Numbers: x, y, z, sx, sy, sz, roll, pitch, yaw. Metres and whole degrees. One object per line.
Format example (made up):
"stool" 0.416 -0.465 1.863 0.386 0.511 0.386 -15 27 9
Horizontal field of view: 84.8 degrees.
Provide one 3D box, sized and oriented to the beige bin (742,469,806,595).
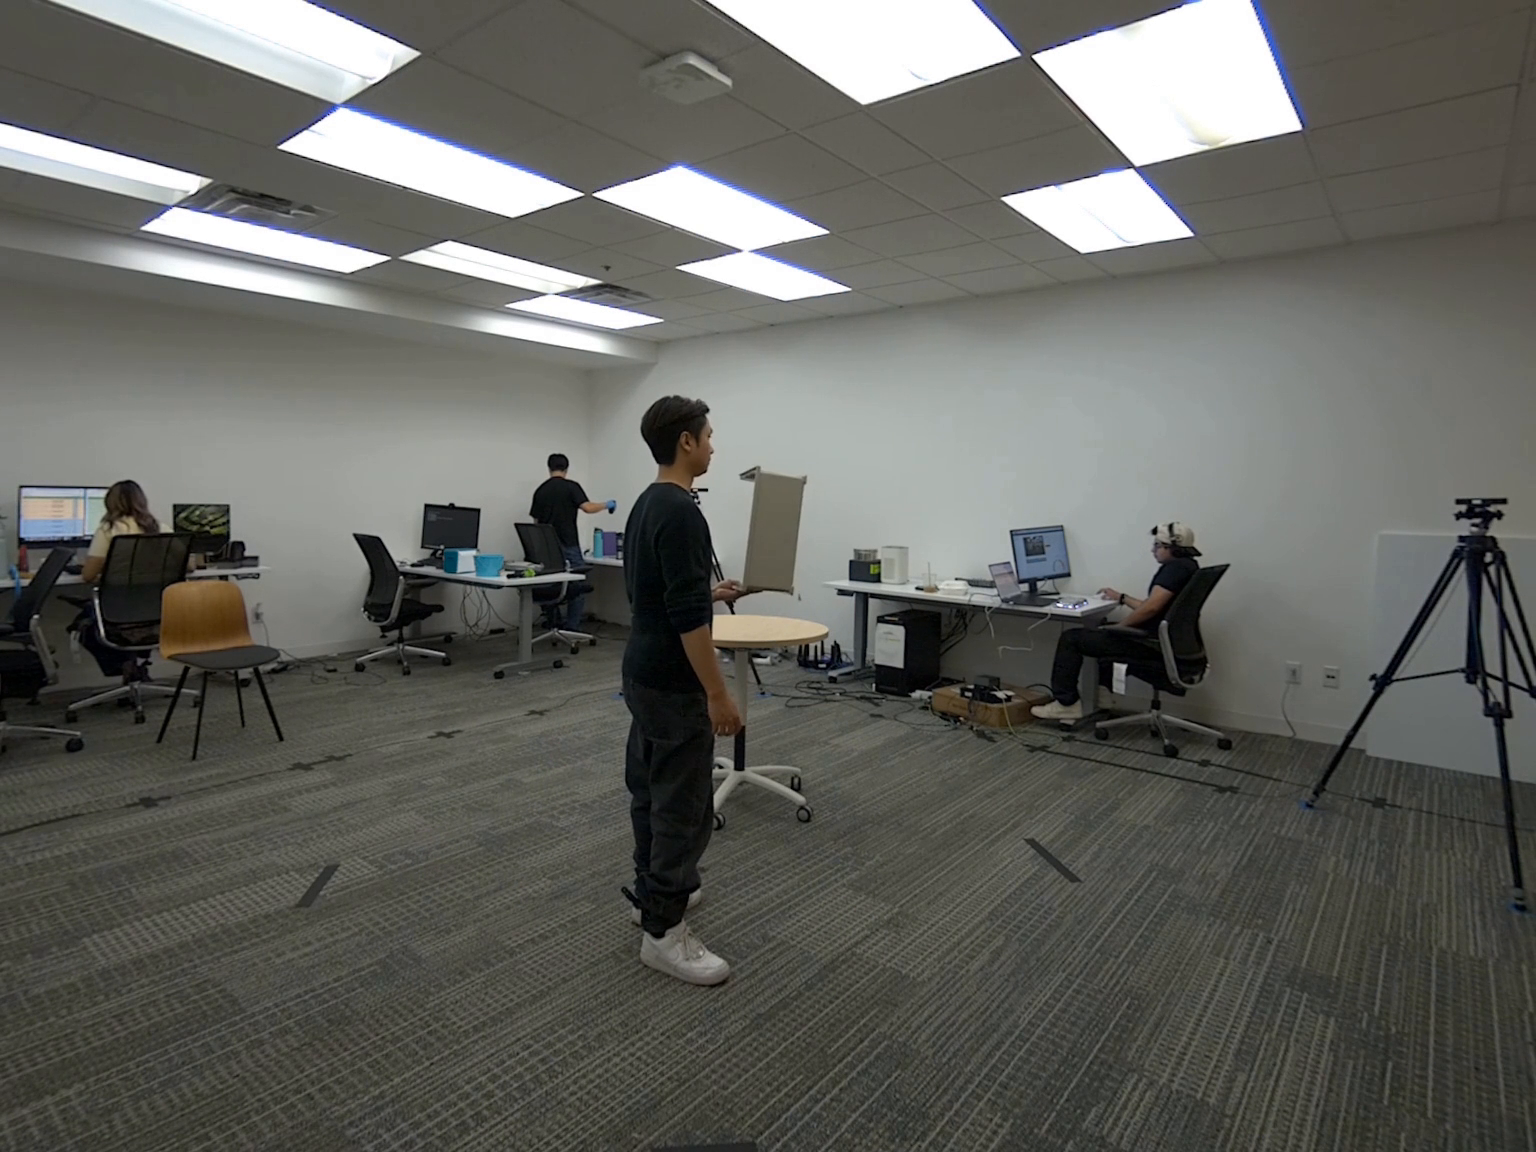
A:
"beige bin" -0.031 -0.152 3.036 0.187 0.423 0.380 6 0 -8
